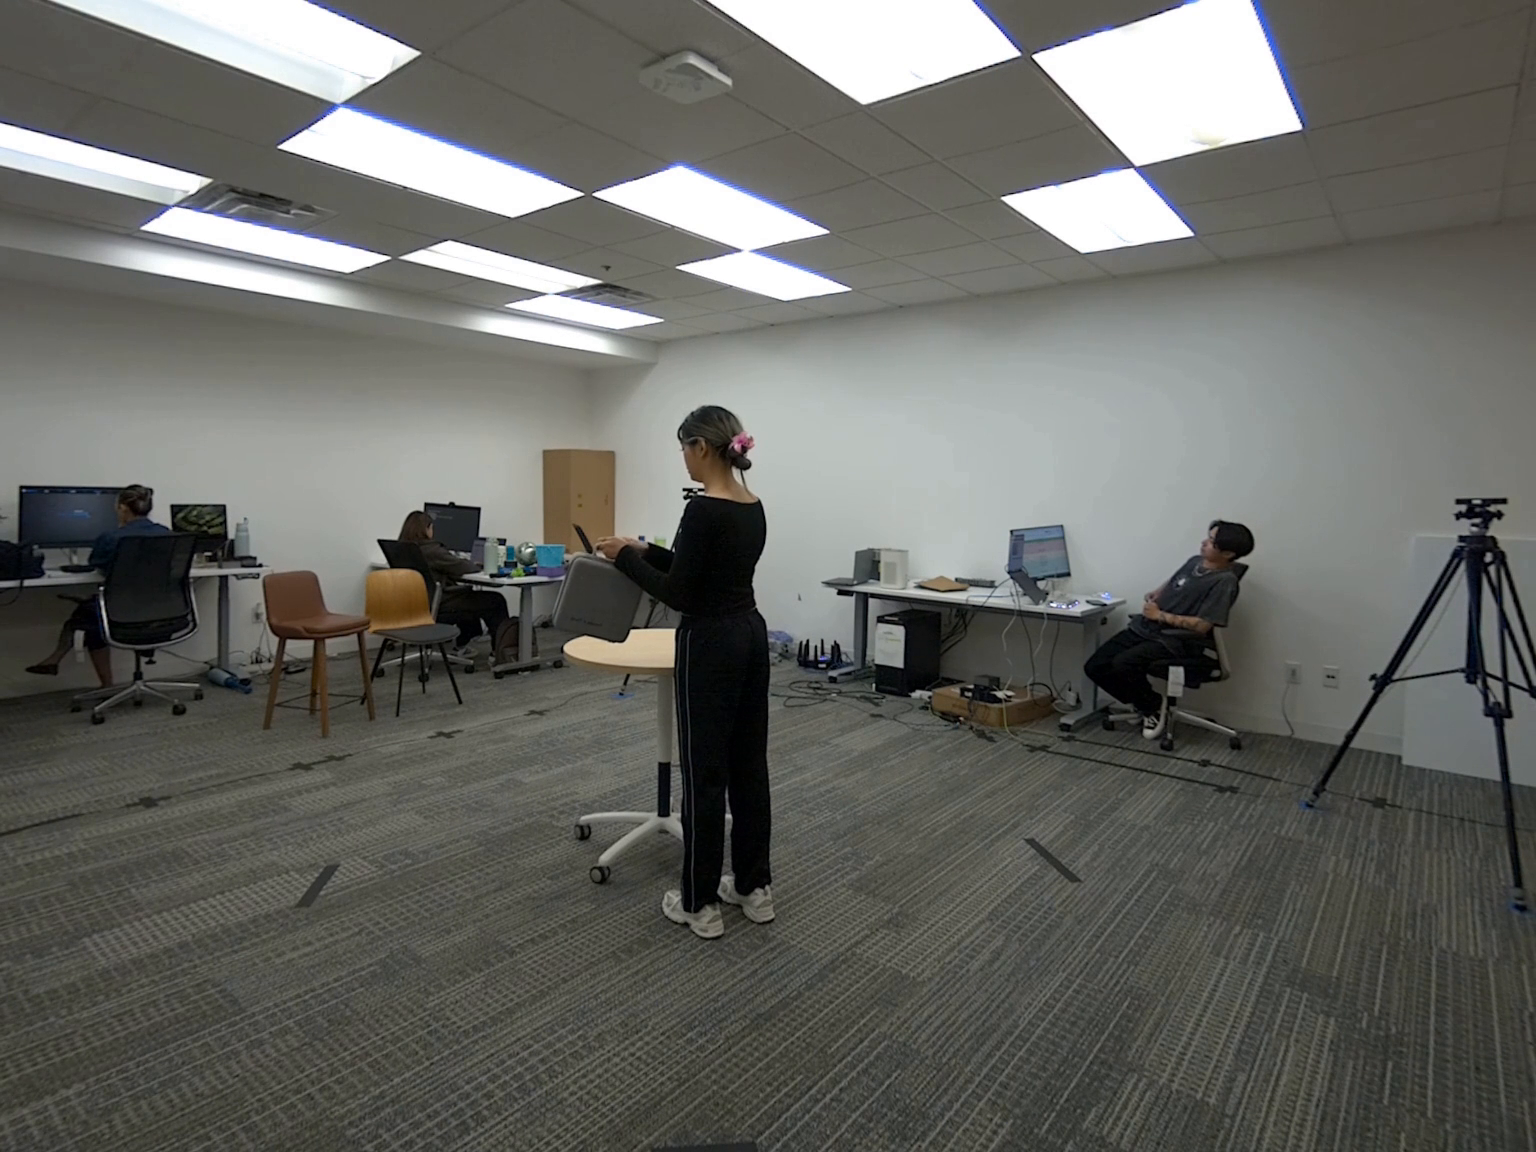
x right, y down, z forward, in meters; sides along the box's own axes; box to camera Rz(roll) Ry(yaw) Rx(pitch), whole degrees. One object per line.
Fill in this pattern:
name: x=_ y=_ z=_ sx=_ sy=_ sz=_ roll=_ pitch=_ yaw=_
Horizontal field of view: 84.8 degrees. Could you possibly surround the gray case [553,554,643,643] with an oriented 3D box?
gray case: x=-0.559 y=0.066 z=2.751 sx=0.251 sy=0.259 sz=0.107 roll=18 pitch=7 yaw=-20
